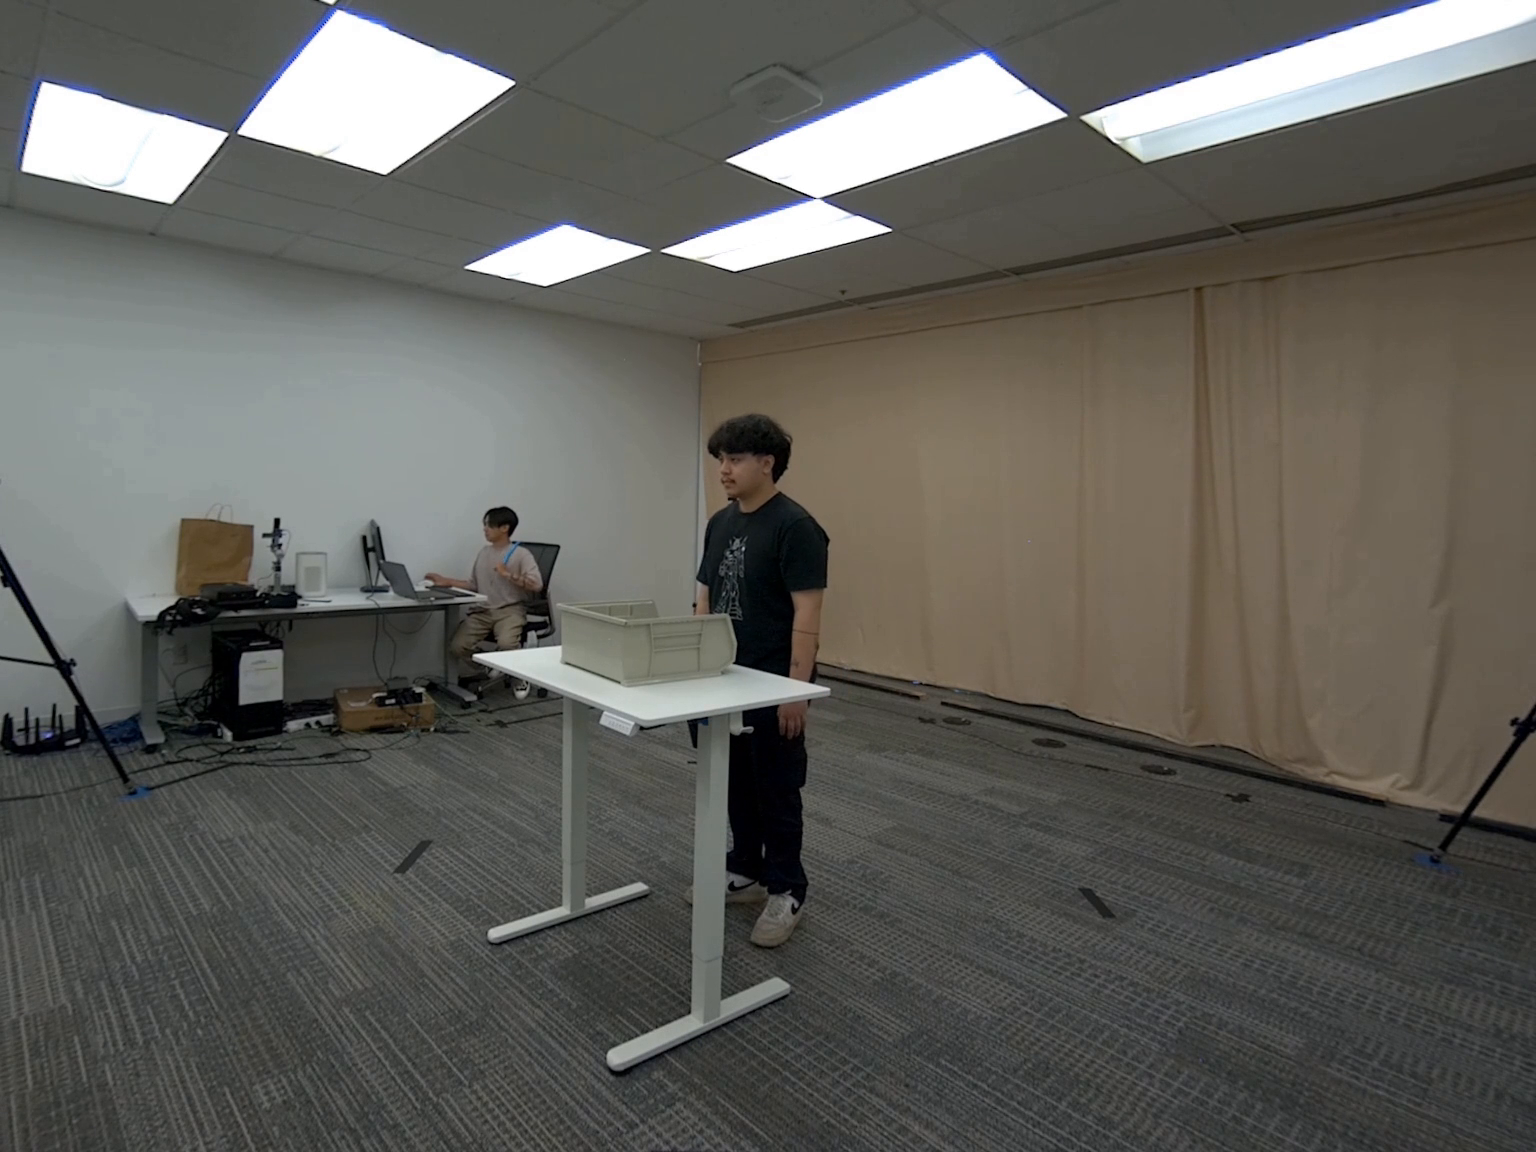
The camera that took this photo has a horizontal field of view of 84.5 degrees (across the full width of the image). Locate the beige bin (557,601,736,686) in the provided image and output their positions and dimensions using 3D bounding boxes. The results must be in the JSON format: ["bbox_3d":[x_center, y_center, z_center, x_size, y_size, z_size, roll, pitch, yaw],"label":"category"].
[{"bbox_3d":[-0.376,0.189,2.495,0.369,0.188,0.433,-3,6,-37],"label":"beige bin"}]
